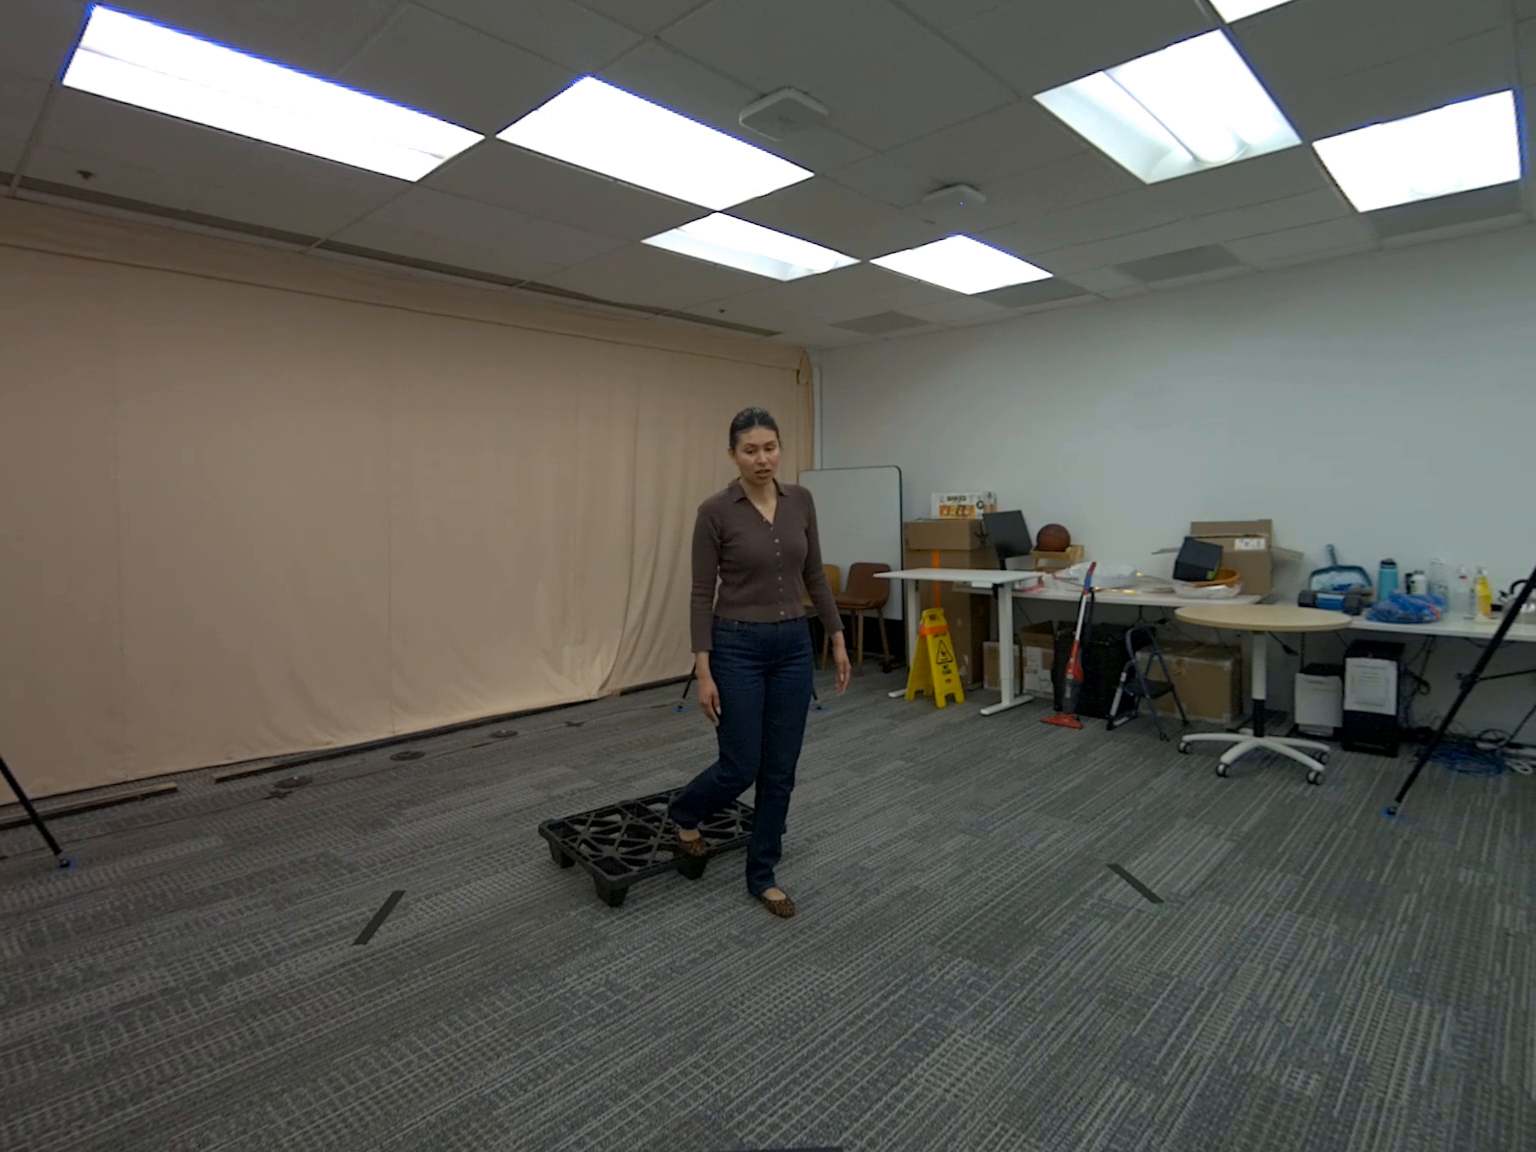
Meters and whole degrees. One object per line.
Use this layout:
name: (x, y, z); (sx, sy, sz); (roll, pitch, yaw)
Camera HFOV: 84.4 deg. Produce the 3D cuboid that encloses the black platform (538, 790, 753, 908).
black platform: (-0.406, 1.043, 3.323); (0.782, 0.143, 0.625); (-6, 9, -38)
